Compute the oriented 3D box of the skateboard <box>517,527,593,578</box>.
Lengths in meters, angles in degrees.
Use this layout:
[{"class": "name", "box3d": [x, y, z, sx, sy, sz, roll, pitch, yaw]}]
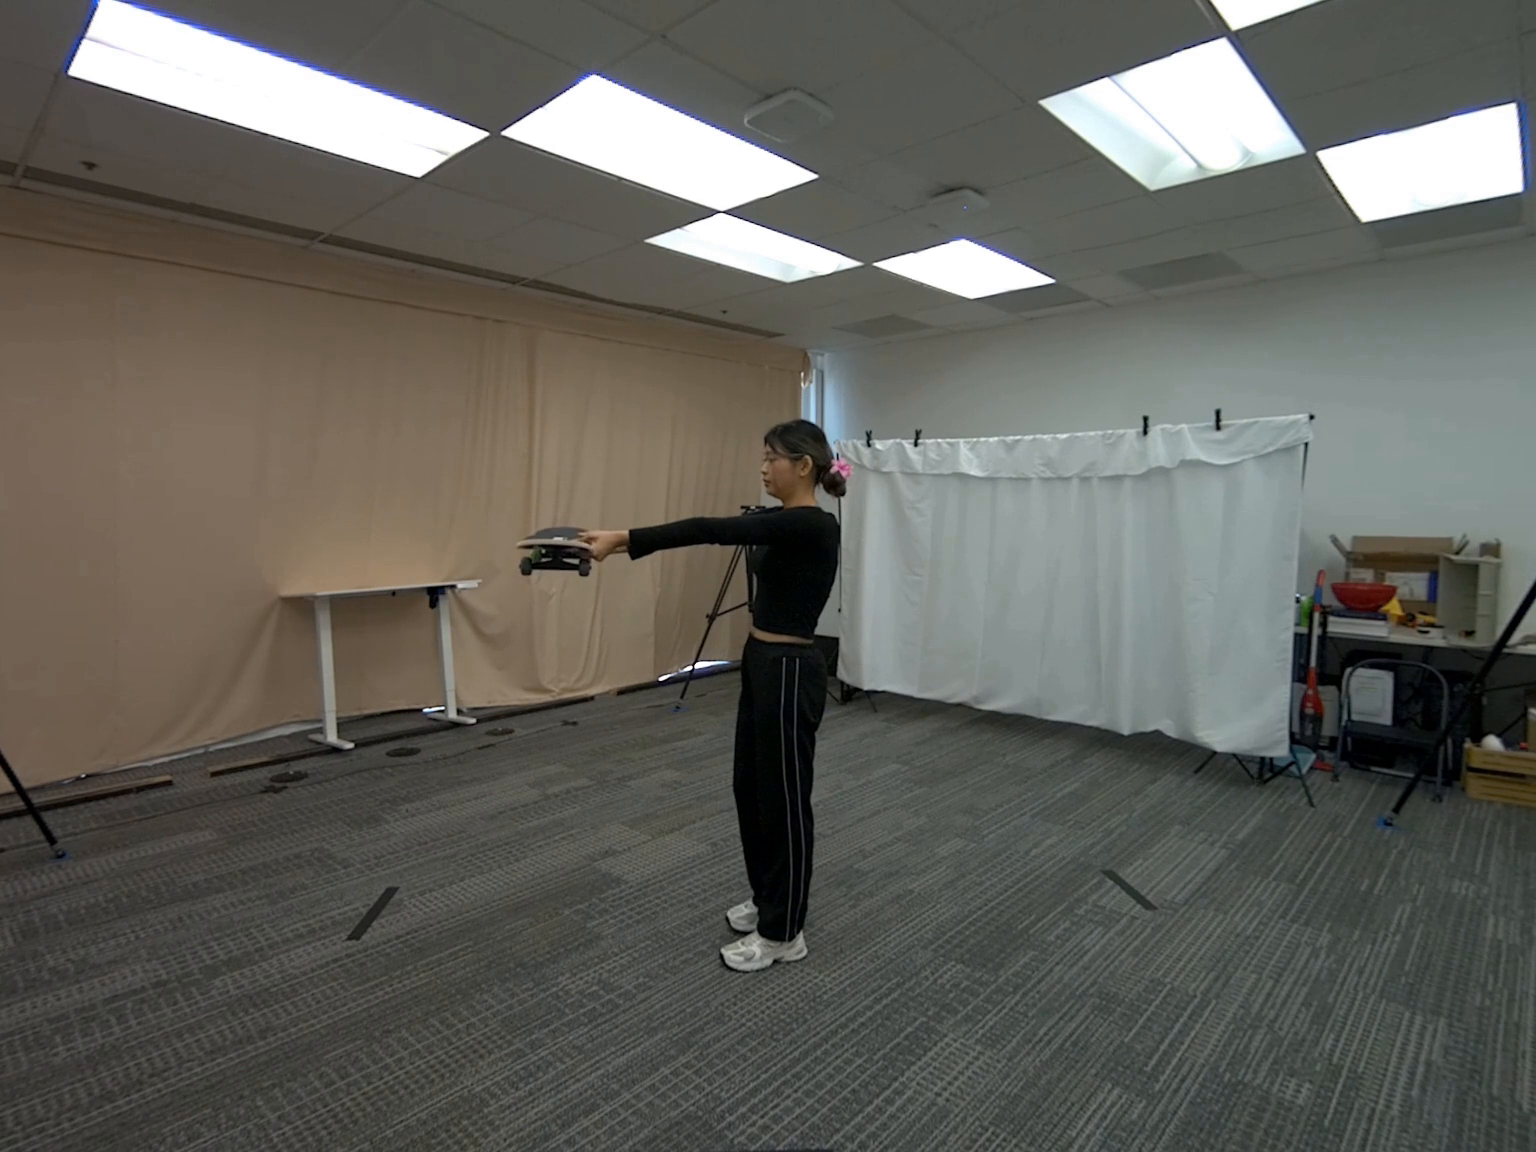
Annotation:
[{"class": "skateboard", "box3d": [-0.620, -0.070, 2.458, 0.191, 0.110, 0.796, -1, 6, -11]}]
